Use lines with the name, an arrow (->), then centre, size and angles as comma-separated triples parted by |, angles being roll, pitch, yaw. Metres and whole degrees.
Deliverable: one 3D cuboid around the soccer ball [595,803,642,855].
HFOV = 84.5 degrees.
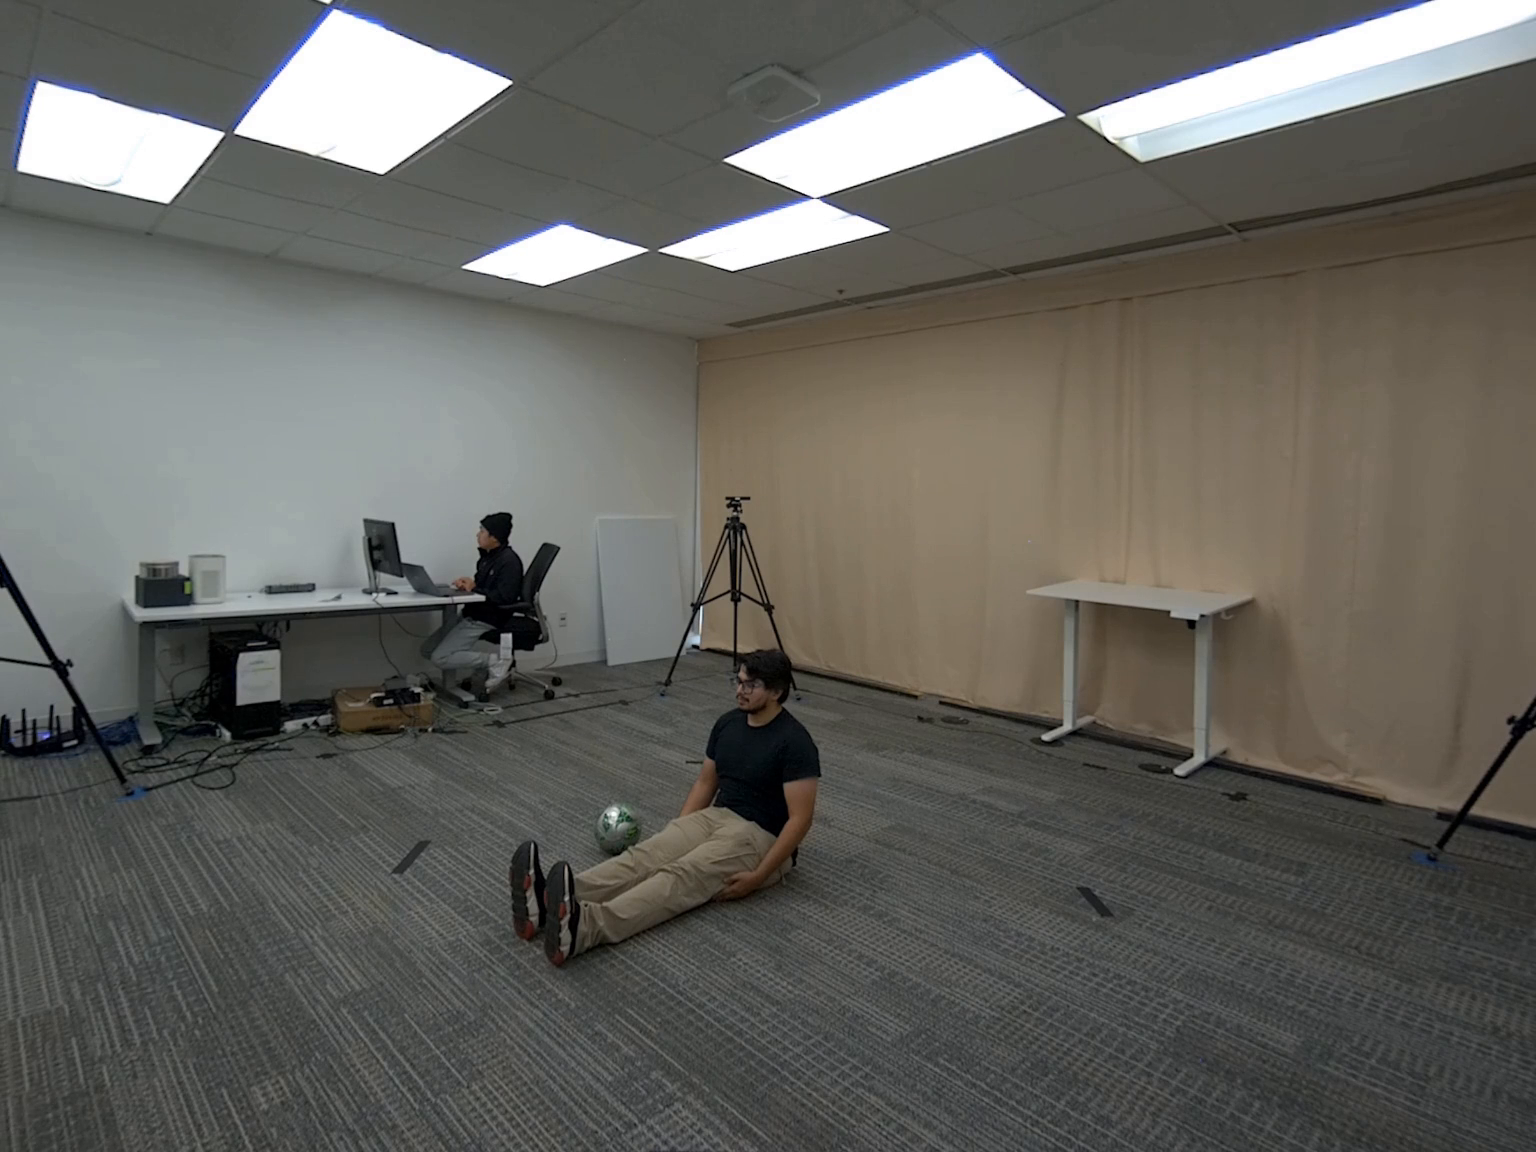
soccer ball -> -0.585, 0.980, 3.286 | 0.187, 0.187, 0.188 | 1, 5, -1
